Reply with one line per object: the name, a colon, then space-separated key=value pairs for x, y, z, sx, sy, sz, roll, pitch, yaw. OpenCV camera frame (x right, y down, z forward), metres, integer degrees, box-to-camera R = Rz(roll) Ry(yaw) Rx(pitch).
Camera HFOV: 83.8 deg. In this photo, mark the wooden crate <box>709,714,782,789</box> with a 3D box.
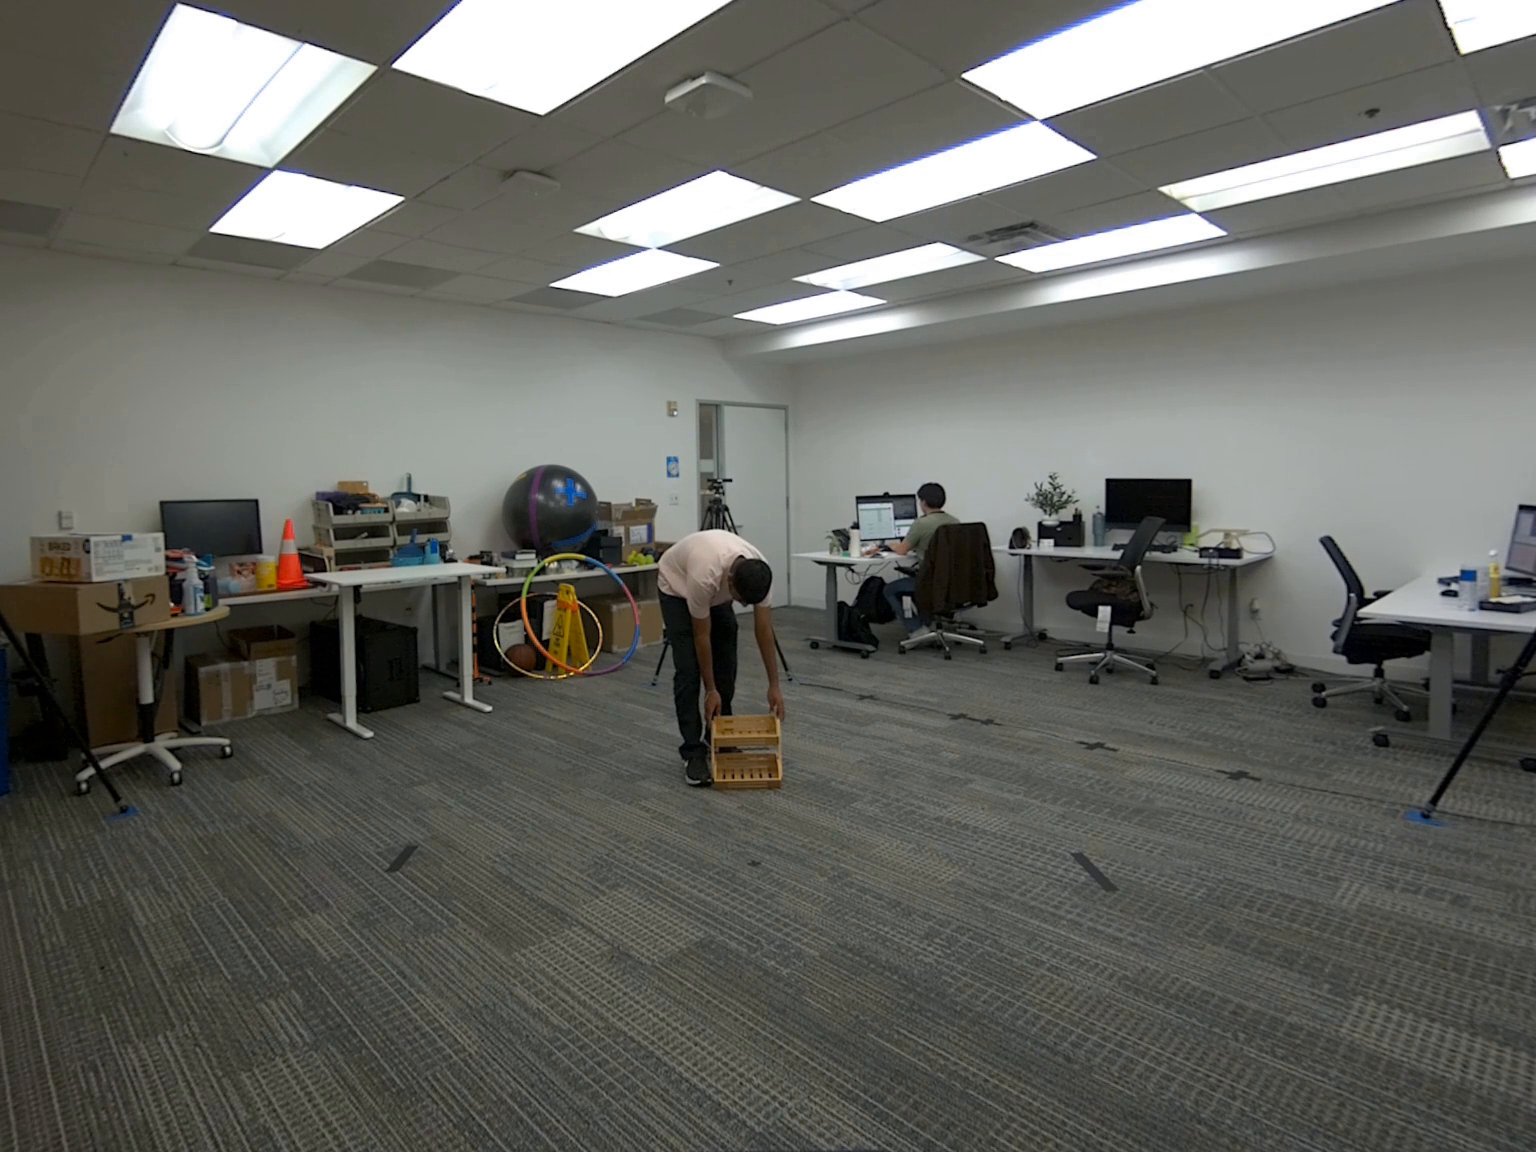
wooden crate: x=-0.099 y=0.817 z=3.979 sx=0.324 sy=0.272 sz=0.303 roll=-1 pitch=4 yaw=-2
